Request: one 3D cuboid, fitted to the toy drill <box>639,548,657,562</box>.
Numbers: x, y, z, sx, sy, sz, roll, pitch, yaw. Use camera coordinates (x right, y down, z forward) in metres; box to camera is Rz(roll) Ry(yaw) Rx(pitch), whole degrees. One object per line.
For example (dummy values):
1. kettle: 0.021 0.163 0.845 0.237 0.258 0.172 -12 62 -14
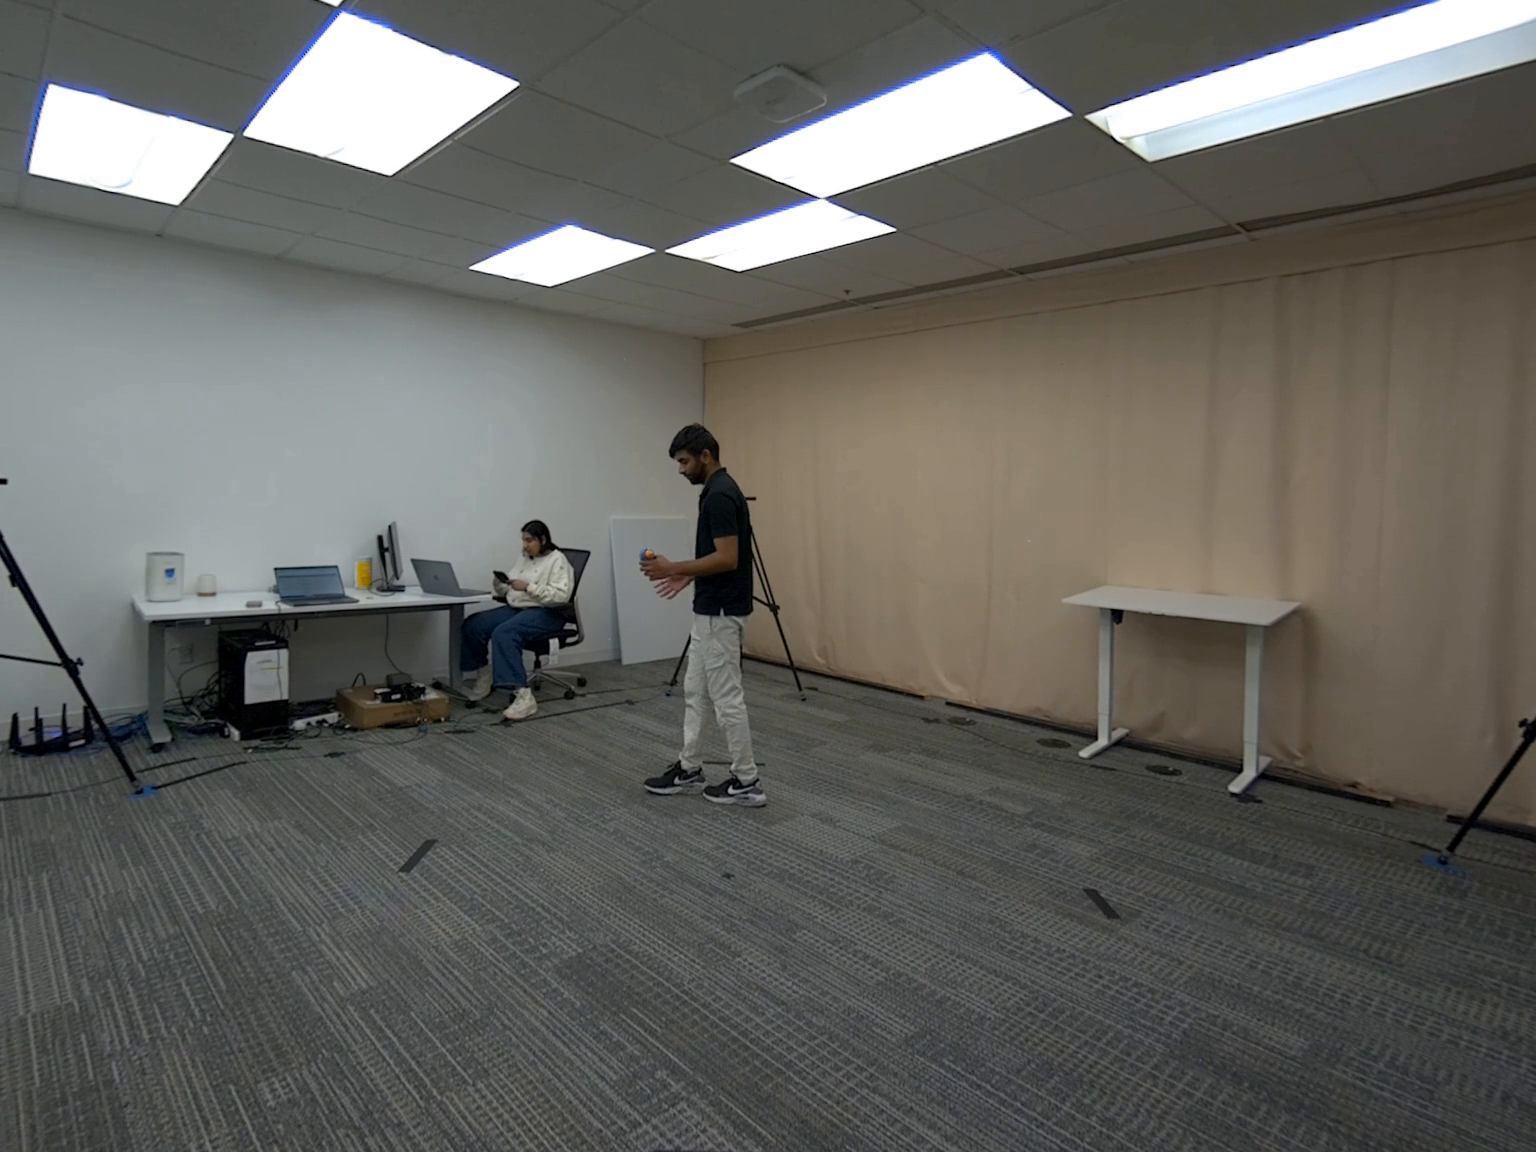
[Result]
1. toy drill: -0.513 -0.068 3.704 0.061 0.144 0.172 -34 12 -22
